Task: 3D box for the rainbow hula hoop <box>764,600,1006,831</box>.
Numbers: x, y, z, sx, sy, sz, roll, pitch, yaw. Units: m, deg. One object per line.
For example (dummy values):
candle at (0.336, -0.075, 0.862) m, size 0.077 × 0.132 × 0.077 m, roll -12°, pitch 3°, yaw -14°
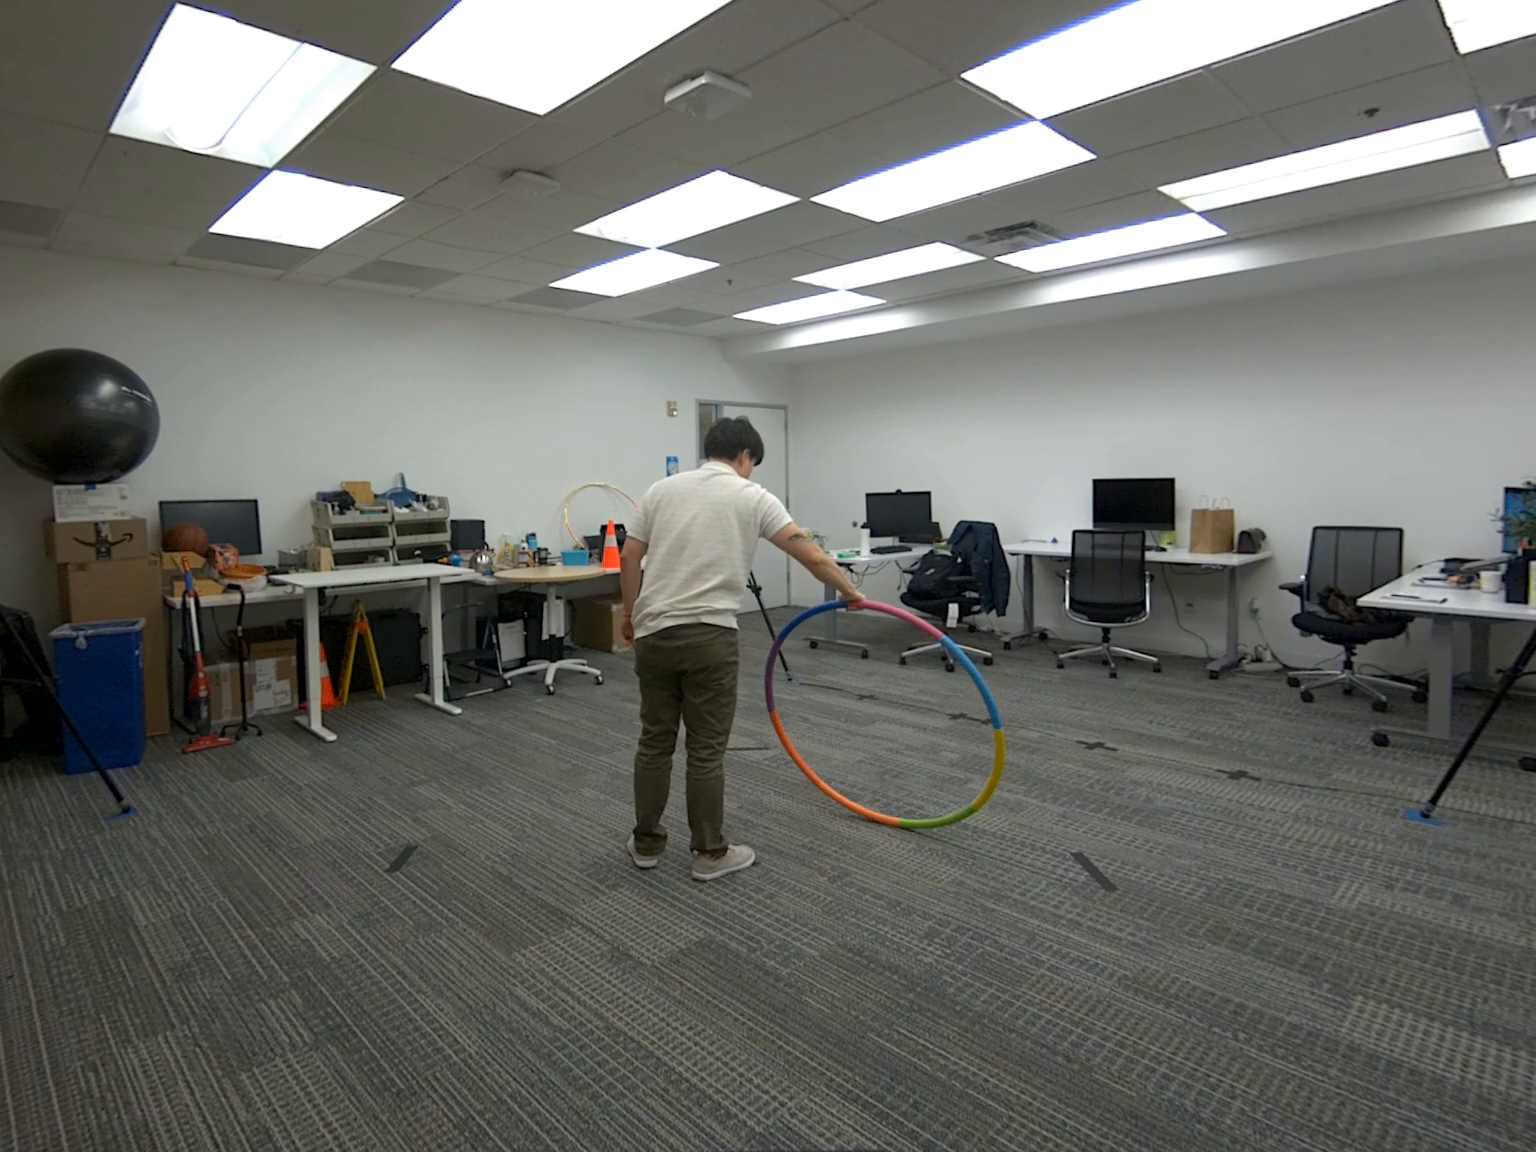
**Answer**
rainbow hula hoop at (0.403, 0.536, 3.312) m, size 1.007 × 0.962 × 0.035 m, roll 3°, pitch 20°, yaw 36°
